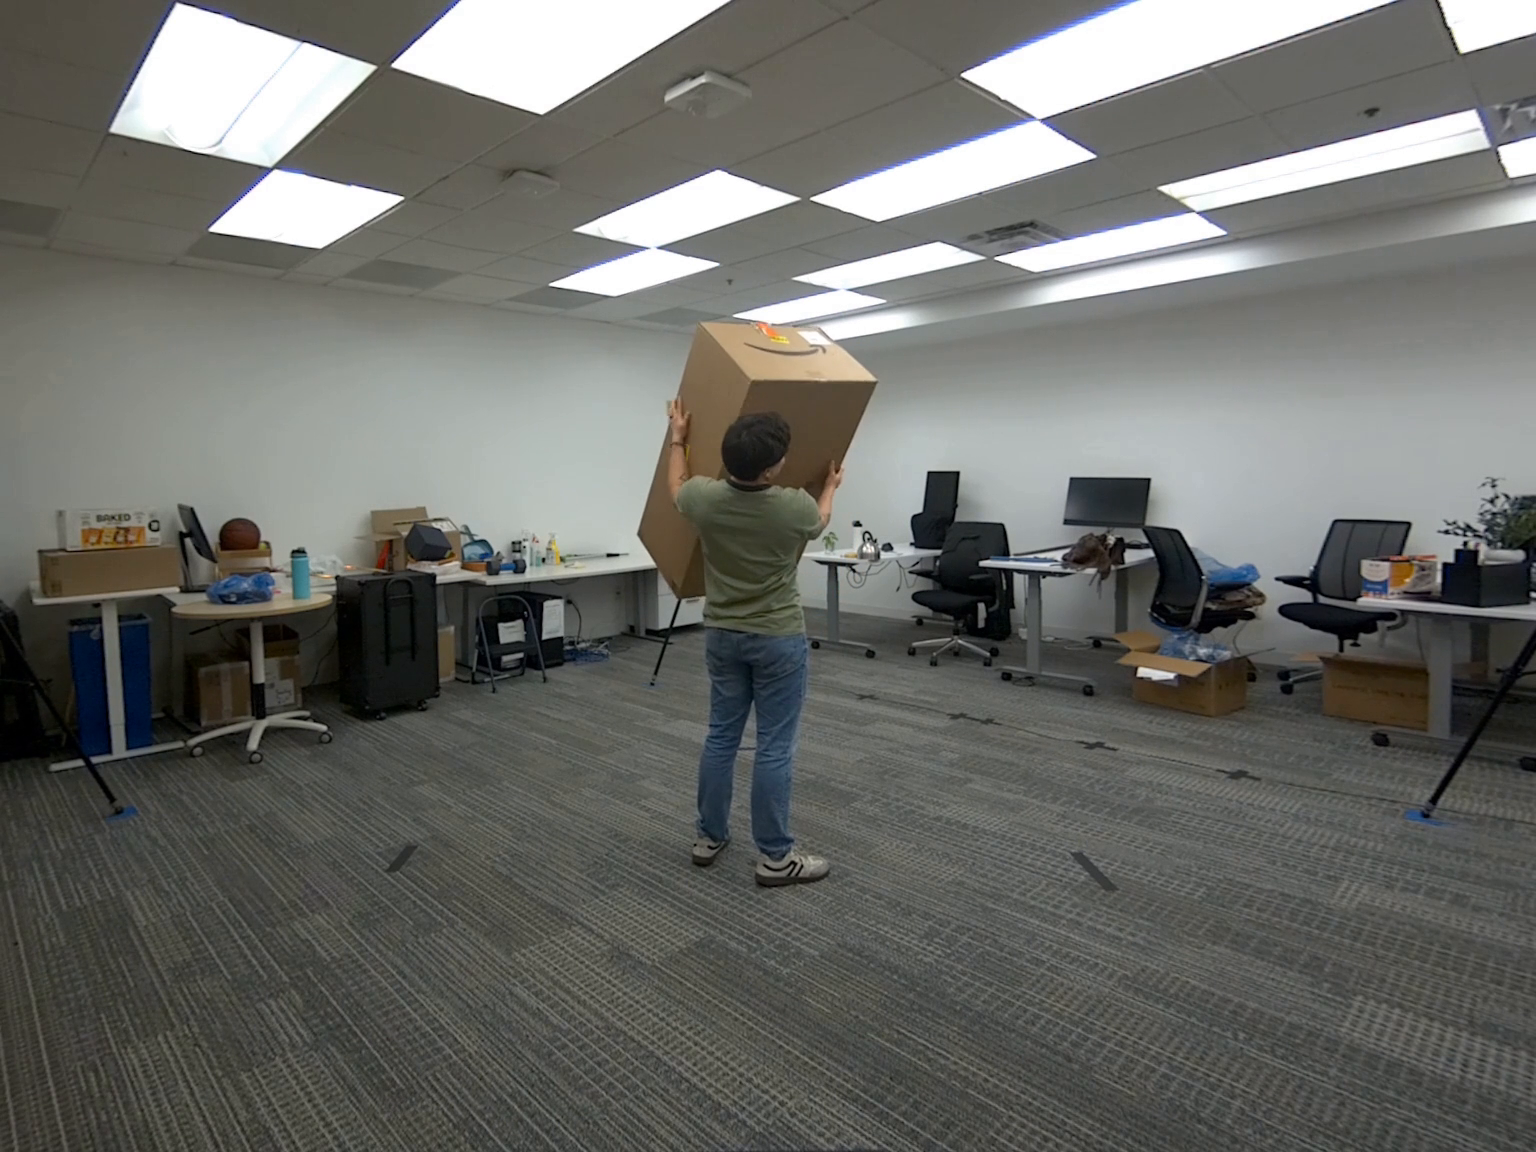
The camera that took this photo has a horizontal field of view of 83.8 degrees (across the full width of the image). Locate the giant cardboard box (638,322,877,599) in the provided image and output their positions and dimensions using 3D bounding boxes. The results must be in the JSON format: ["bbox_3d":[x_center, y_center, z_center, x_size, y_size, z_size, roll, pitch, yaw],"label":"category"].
[{"bbox_3d":[-0.077,-0.437,3.438,0.564,1.011,0.442,-8,45,-34],"label":"giant cardboard box"}]
